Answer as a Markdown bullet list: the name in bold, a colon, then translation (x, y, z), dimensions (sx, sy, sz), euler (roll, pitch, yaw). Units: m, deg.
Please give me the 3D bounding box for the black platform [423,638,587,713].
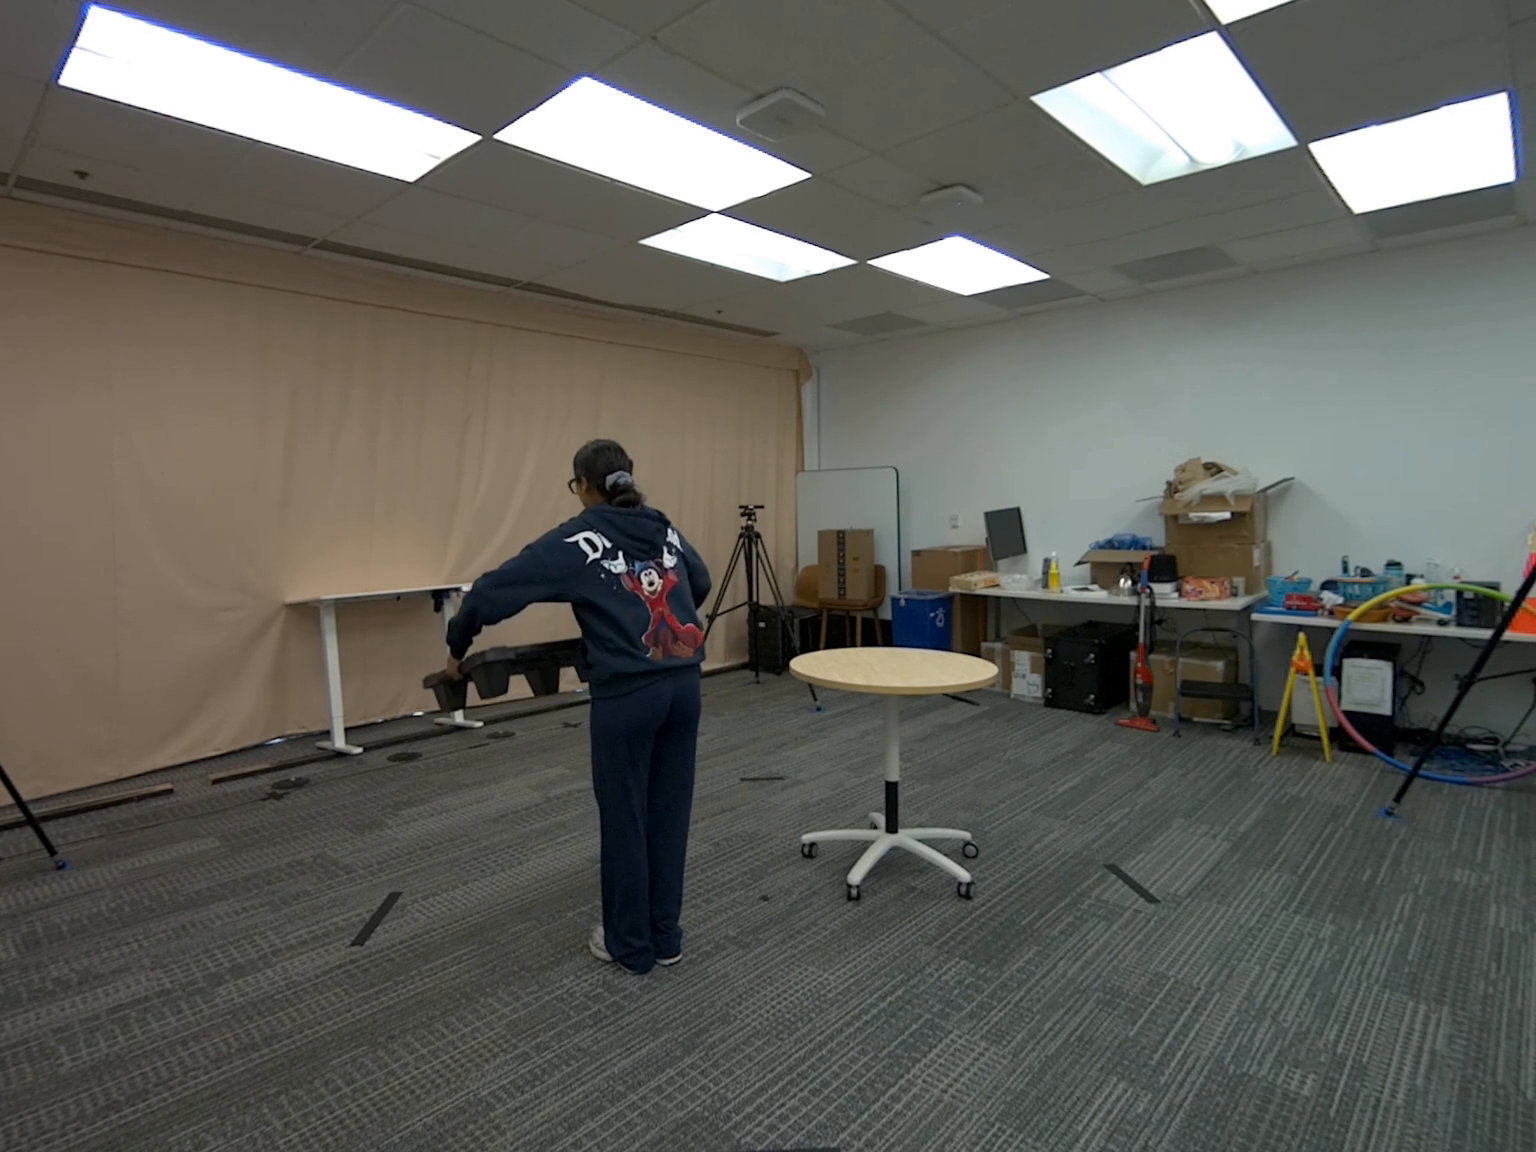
- **black platform**: translation (-0.693, 0.312, 2.893), dimensions (0.782, 0.144, 0.618), euler (-6, -9, -39)
